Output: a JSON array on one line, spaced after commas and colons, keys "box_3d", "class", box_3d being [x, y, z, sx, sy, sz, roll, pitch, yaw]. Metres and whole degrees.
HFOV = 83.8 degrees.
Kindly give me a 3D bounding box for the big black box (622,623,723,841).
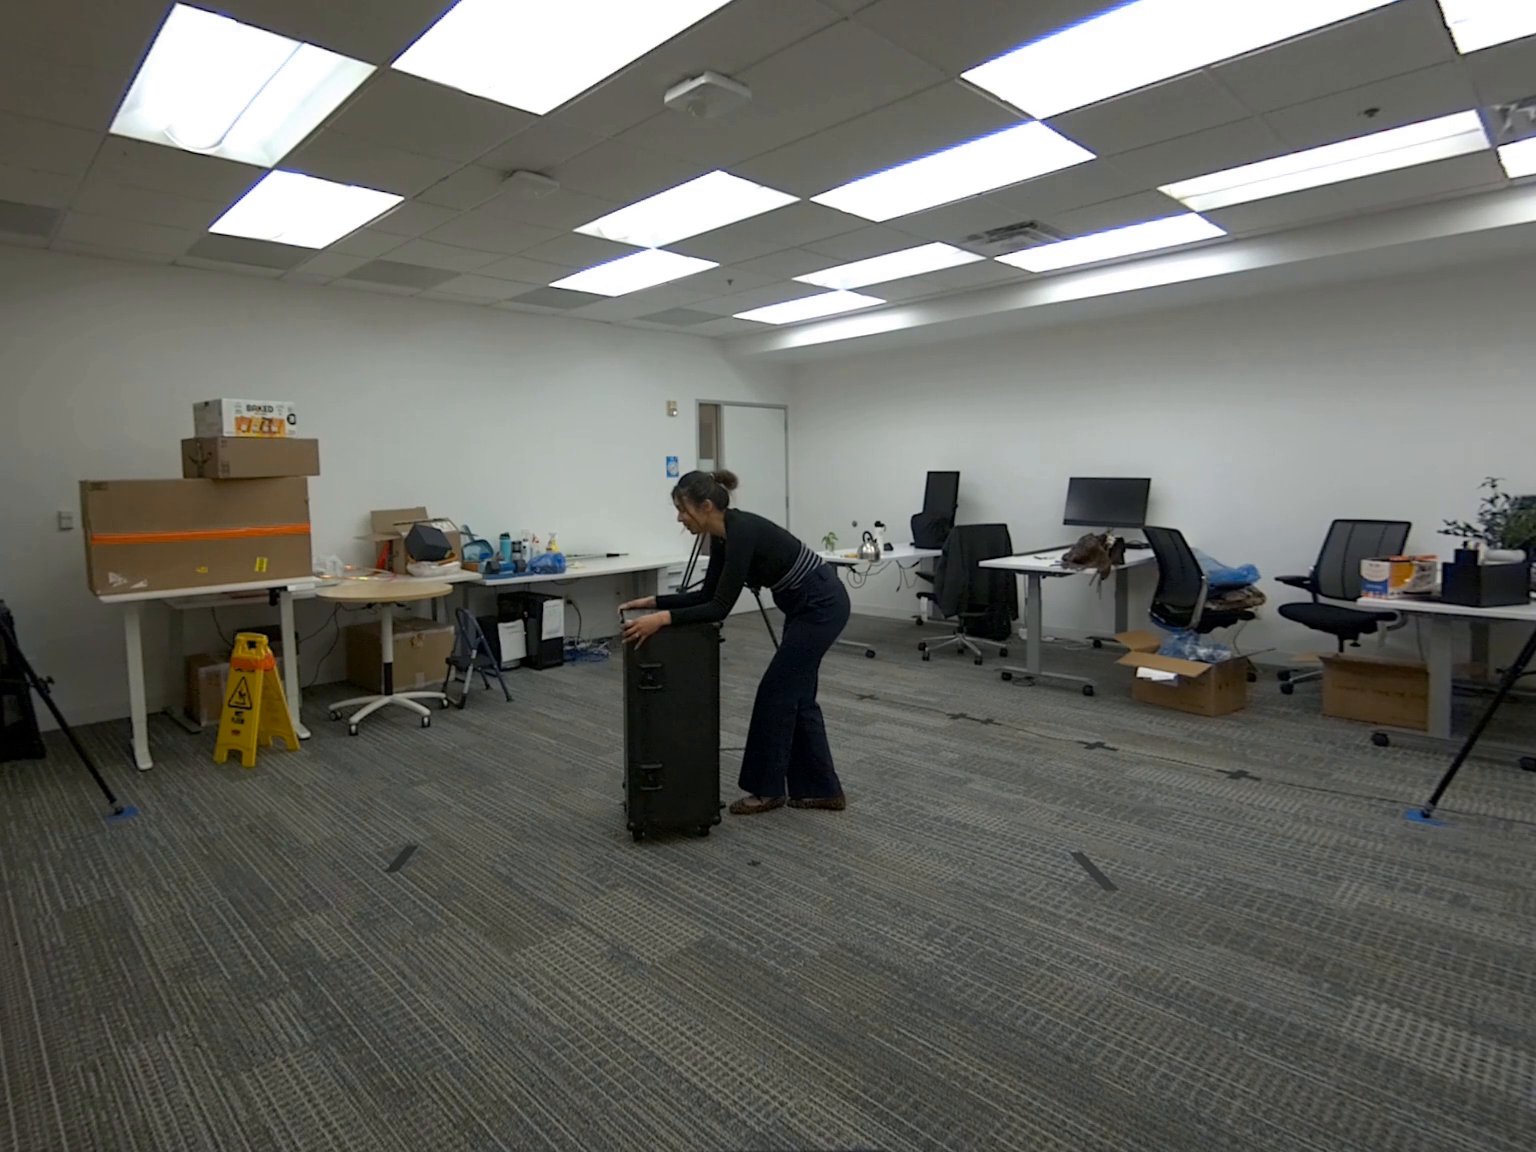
[{"box_3d": [-0.399, 0.586, 3.485, 0.392, 0.860, 0.527, 1, 2, -11], "class": "big black box"}]
